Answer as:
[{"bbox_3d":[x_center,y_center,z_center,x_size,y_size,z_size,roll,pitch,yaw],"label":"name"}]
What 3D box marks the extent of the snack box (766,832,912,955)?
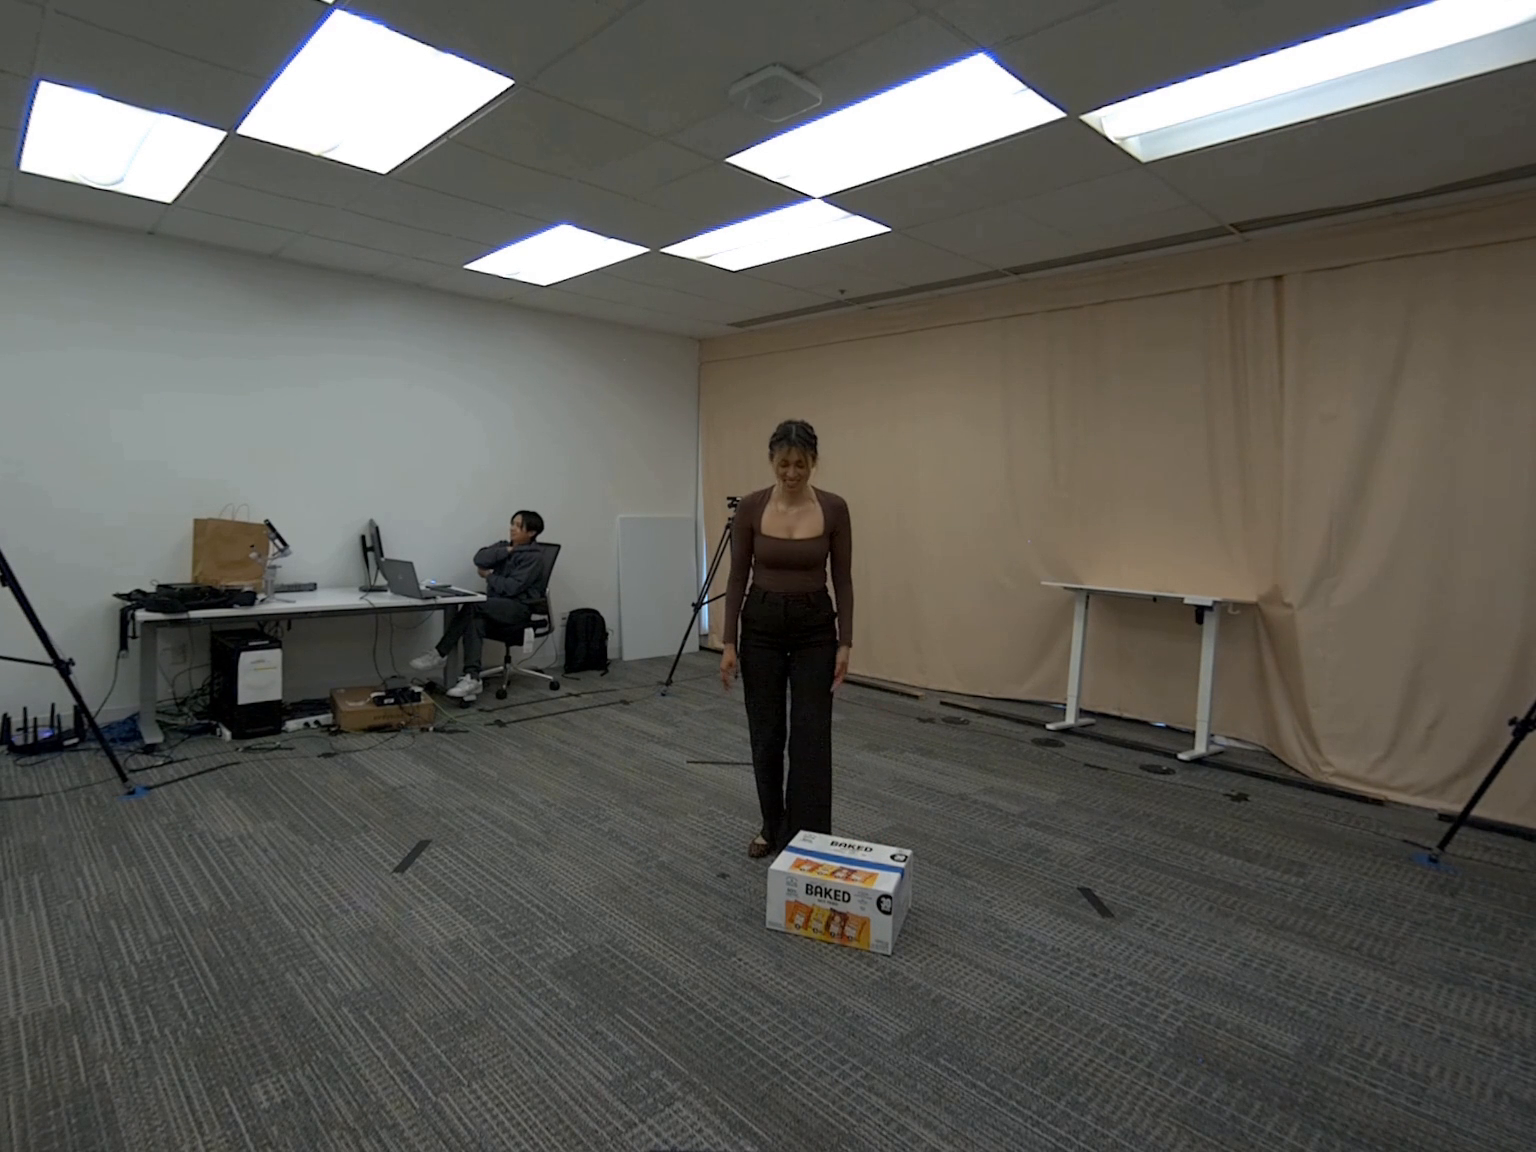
[{"bbox_3d":[0.242,1.040,2.797,0.412,0.205,0.336,3,5,21],"label":"snack box"}]
